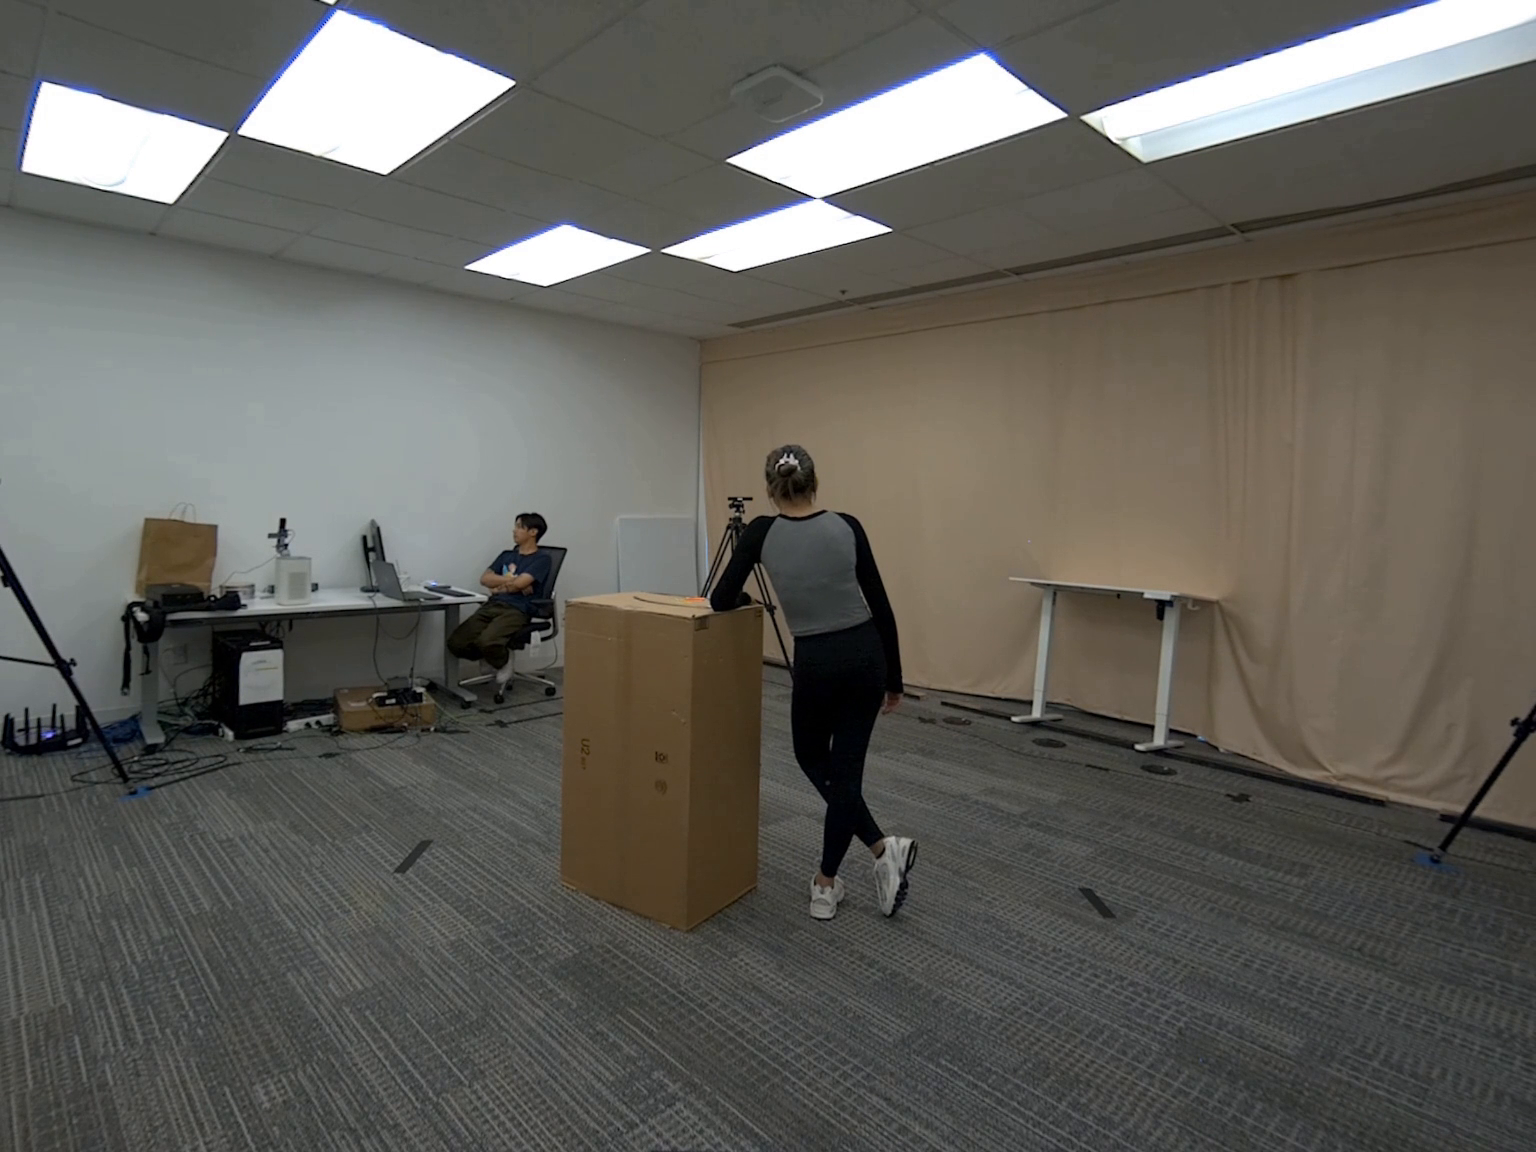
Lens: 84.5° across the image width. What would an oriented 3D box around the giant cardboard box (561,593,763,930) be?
[{"bbox_3d":[-0.385,0.604,2.999,0.591,1.023,0.417,4,4,34],"label":"giant cardboard box"}]
